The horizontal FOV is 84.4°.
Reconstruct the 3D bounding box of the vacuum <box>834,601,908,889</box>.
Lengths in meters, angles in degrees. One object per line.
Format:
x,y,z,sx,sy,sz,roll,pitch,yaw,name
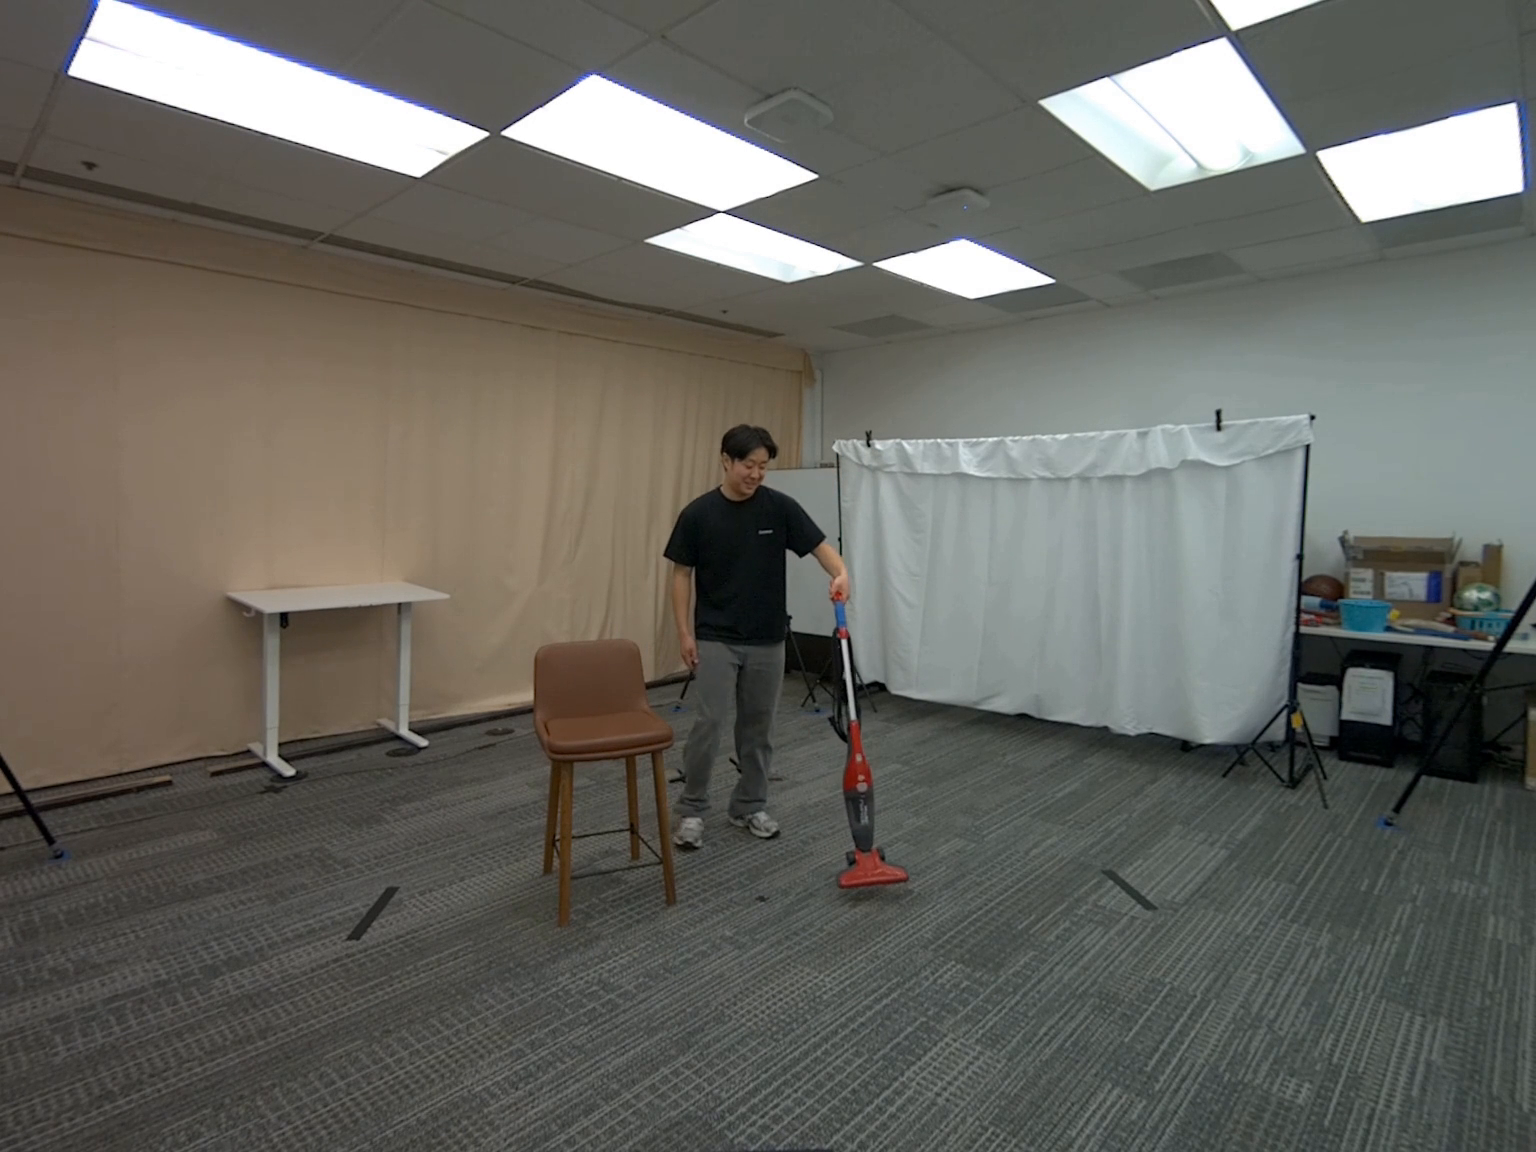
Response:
0.311,0.539,3.111,0.251,1.059,0.143,-5,-12,-6,vacuum
